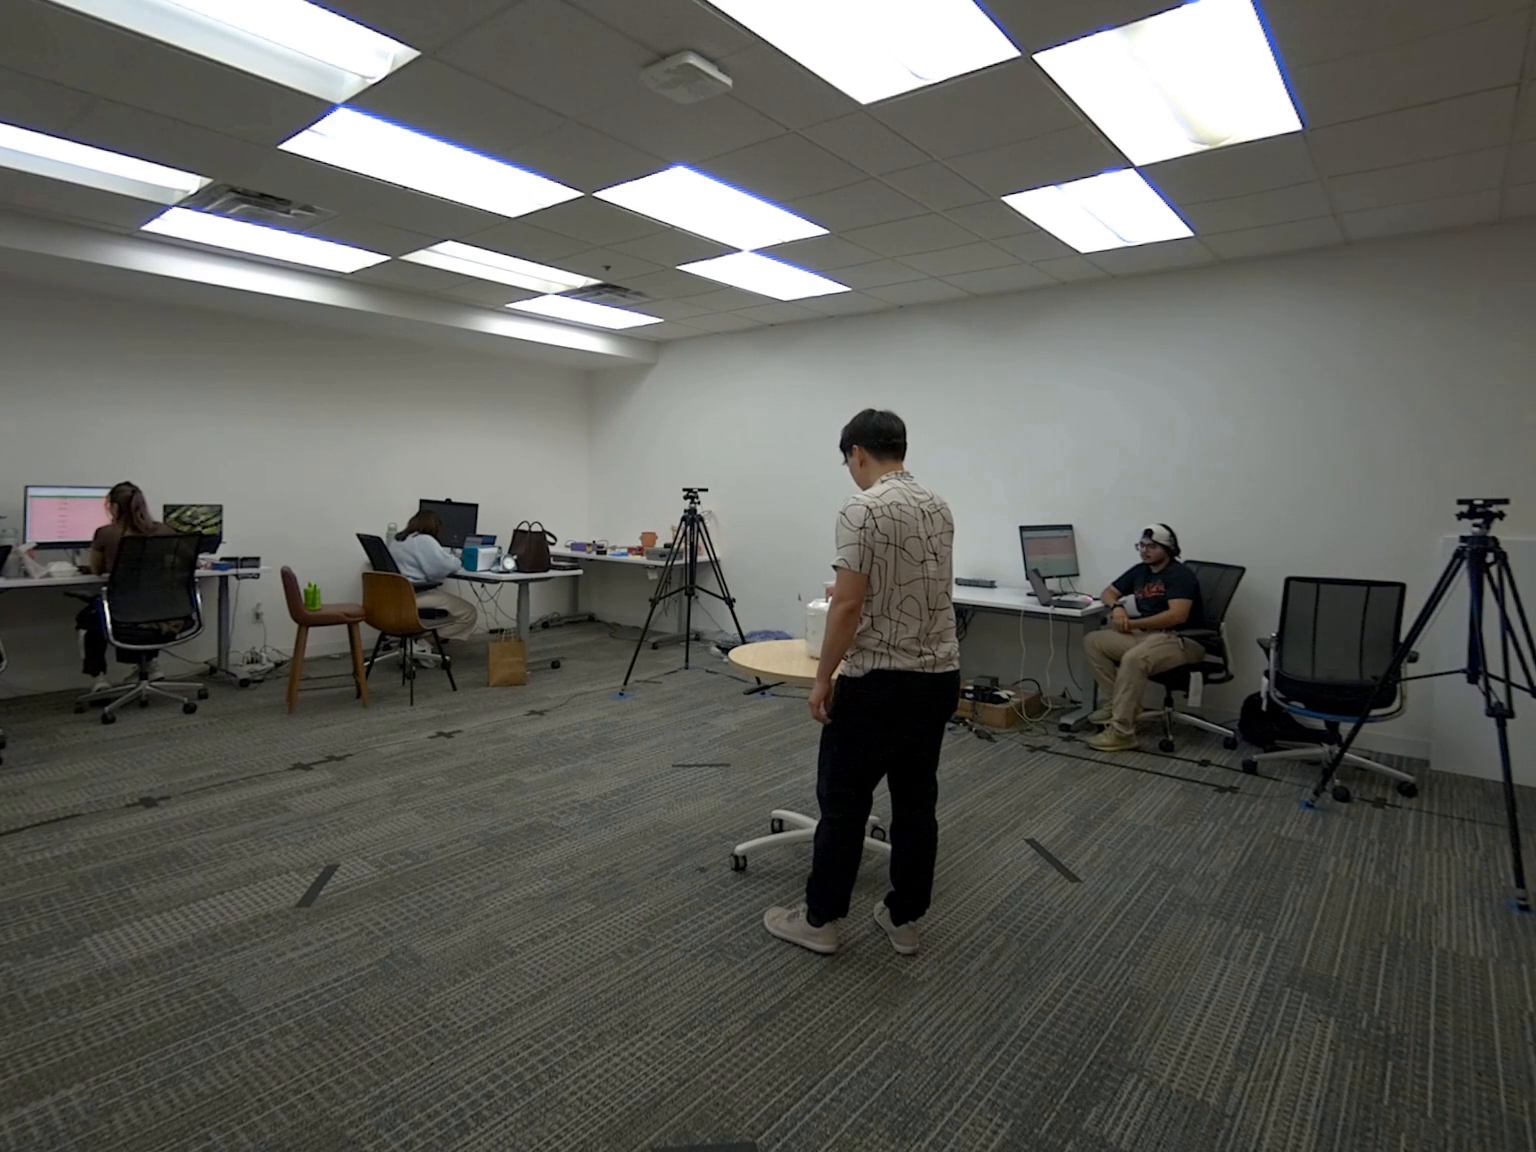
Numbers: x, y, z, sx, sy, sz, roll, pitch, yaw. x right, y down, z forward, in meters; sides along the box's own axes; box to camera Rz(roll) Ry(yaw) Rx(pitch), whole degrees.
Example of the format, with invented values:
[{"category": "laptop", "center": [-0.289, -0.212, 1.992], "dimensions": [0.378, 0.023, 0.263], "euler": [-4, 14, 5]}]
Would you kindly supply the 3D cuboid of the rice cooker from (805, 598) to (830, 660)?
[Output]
[{"category": "rice cooker", "center": [0.233, 0.180, 3.118], "dimensions": [0.221, 0.232, 0.217], "euler": [1, 4, 17]}]
